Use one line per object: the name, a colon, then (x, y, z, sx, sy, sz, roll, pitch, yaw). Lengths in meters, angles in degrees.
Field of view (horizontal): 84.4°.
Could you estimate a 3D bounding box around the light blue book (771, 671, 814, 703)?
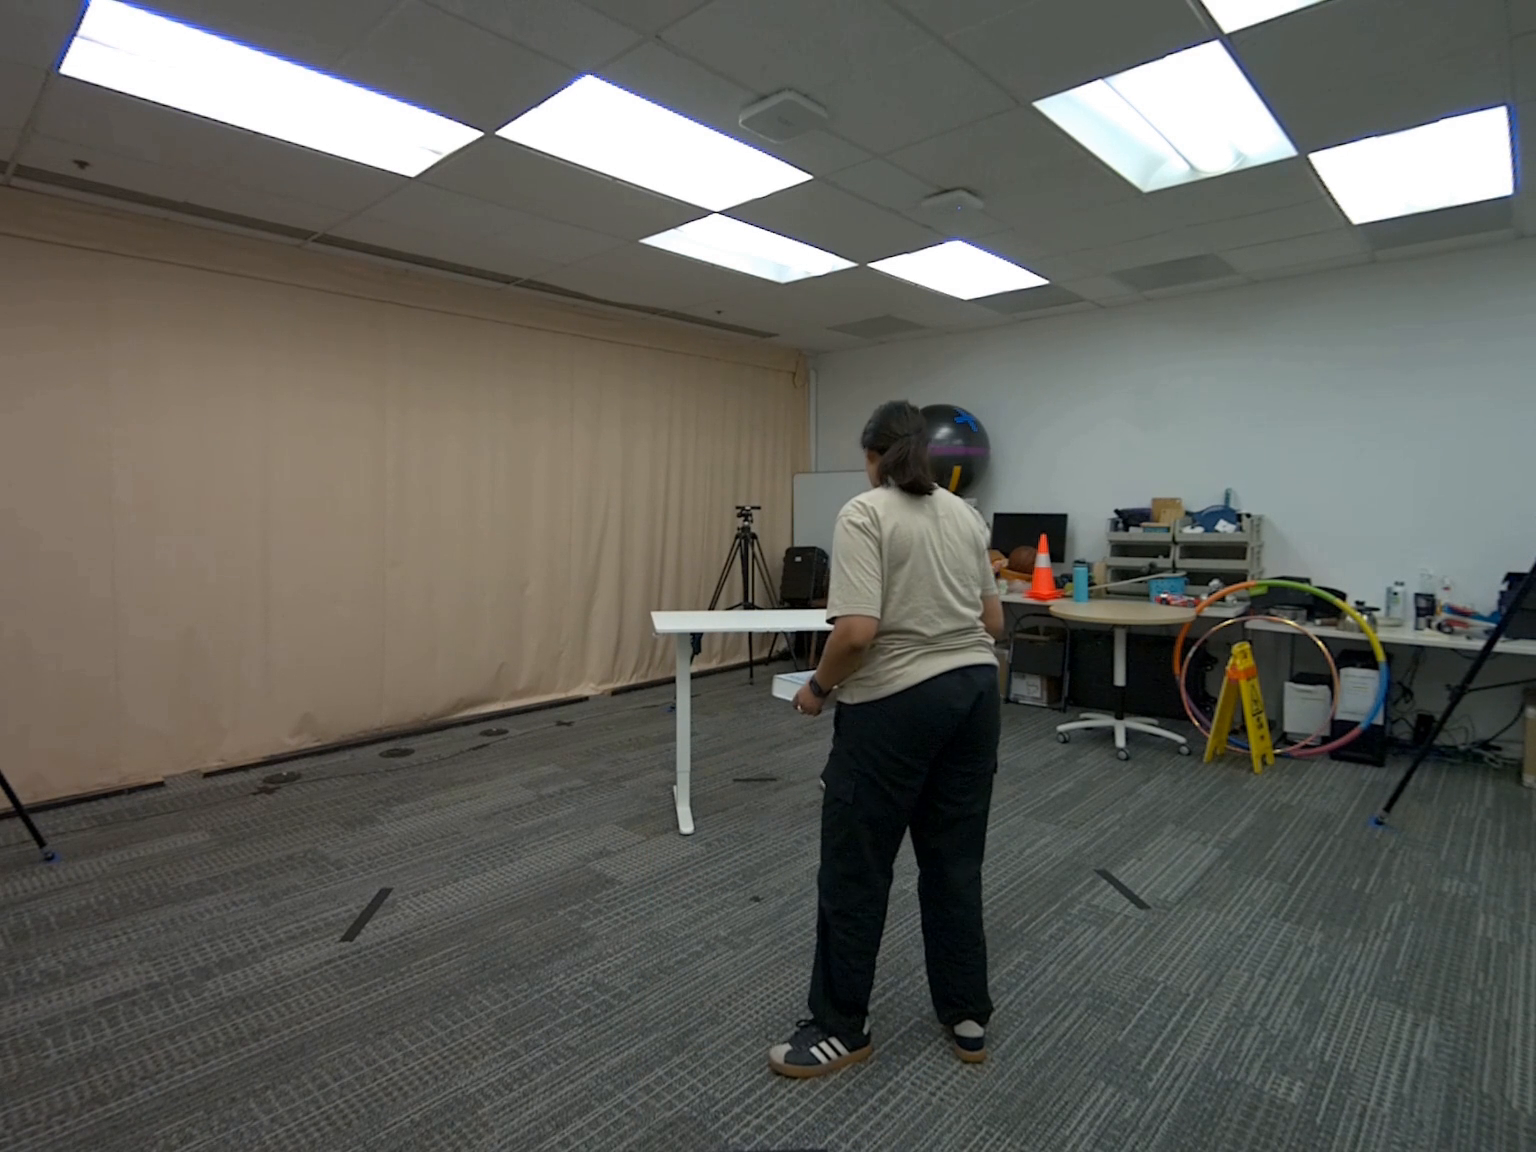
light blue book: (0.176, 0.306, 2.336, 0.198, 0.059, 0.253, 9, 7, 41)
